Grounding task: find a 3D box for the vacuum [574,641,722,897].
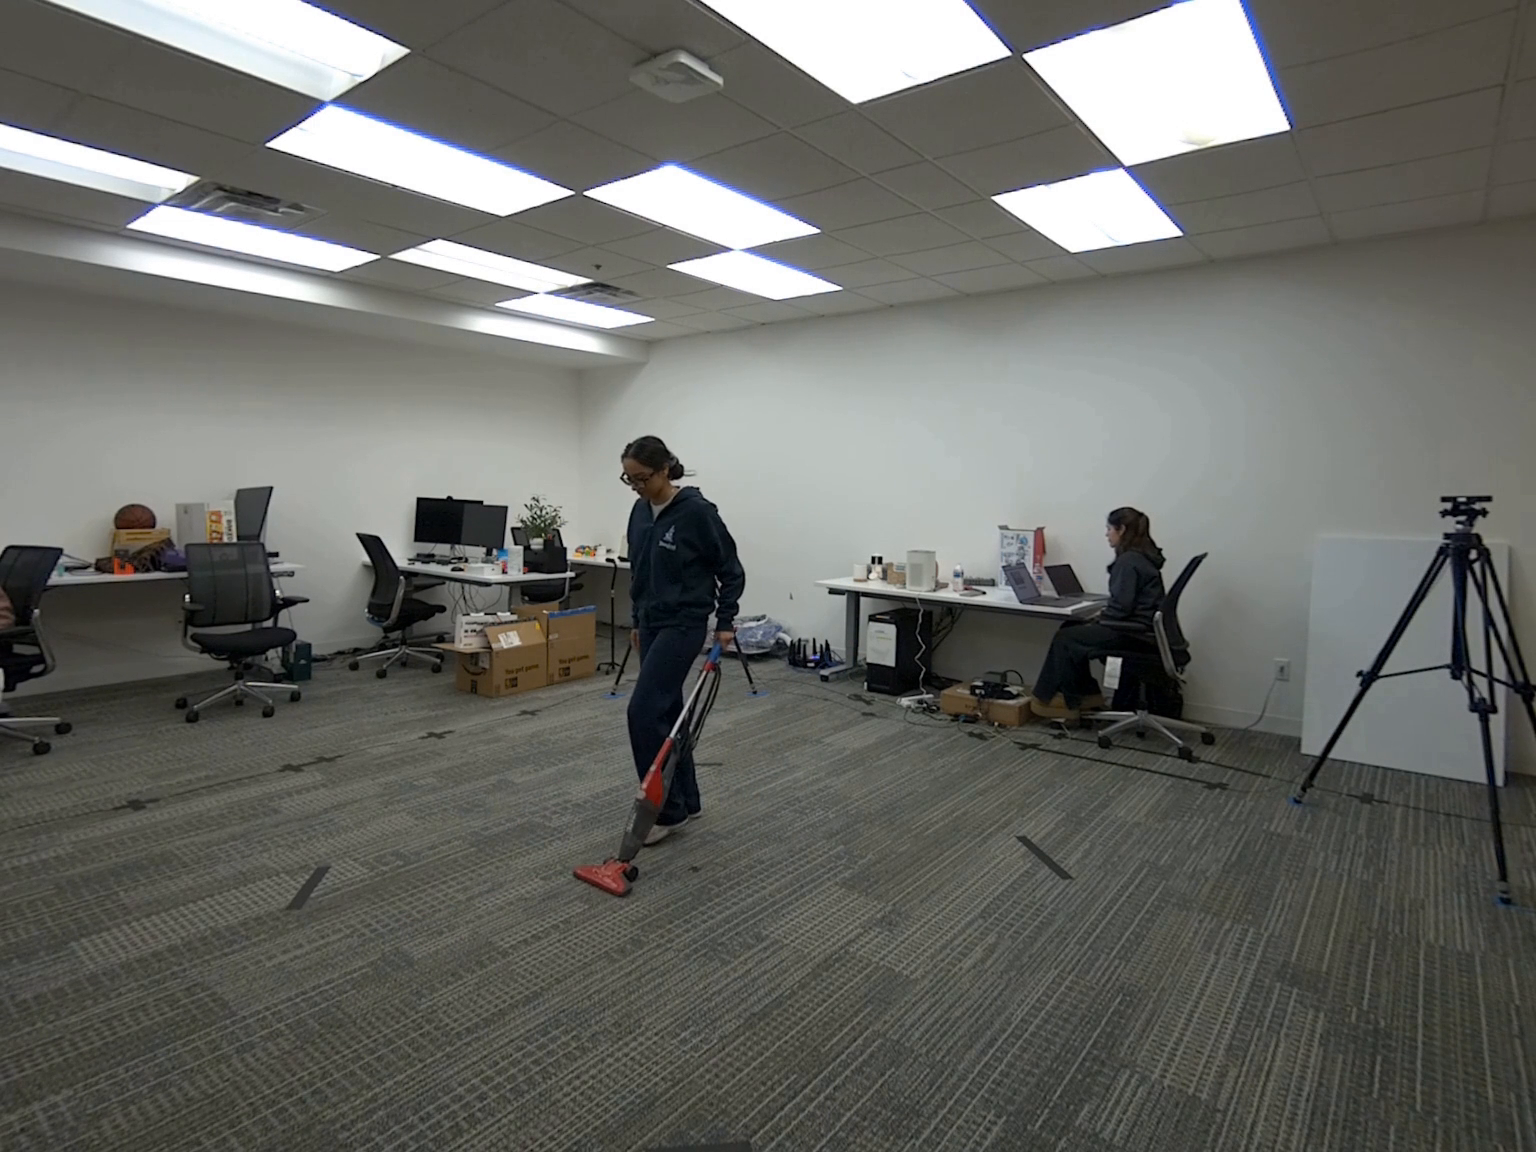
[{"bbox_3d":[-0.368,0.652,3.212,0.261,1.058,0.138,9,-31,32],"label":"vacuum"}]
